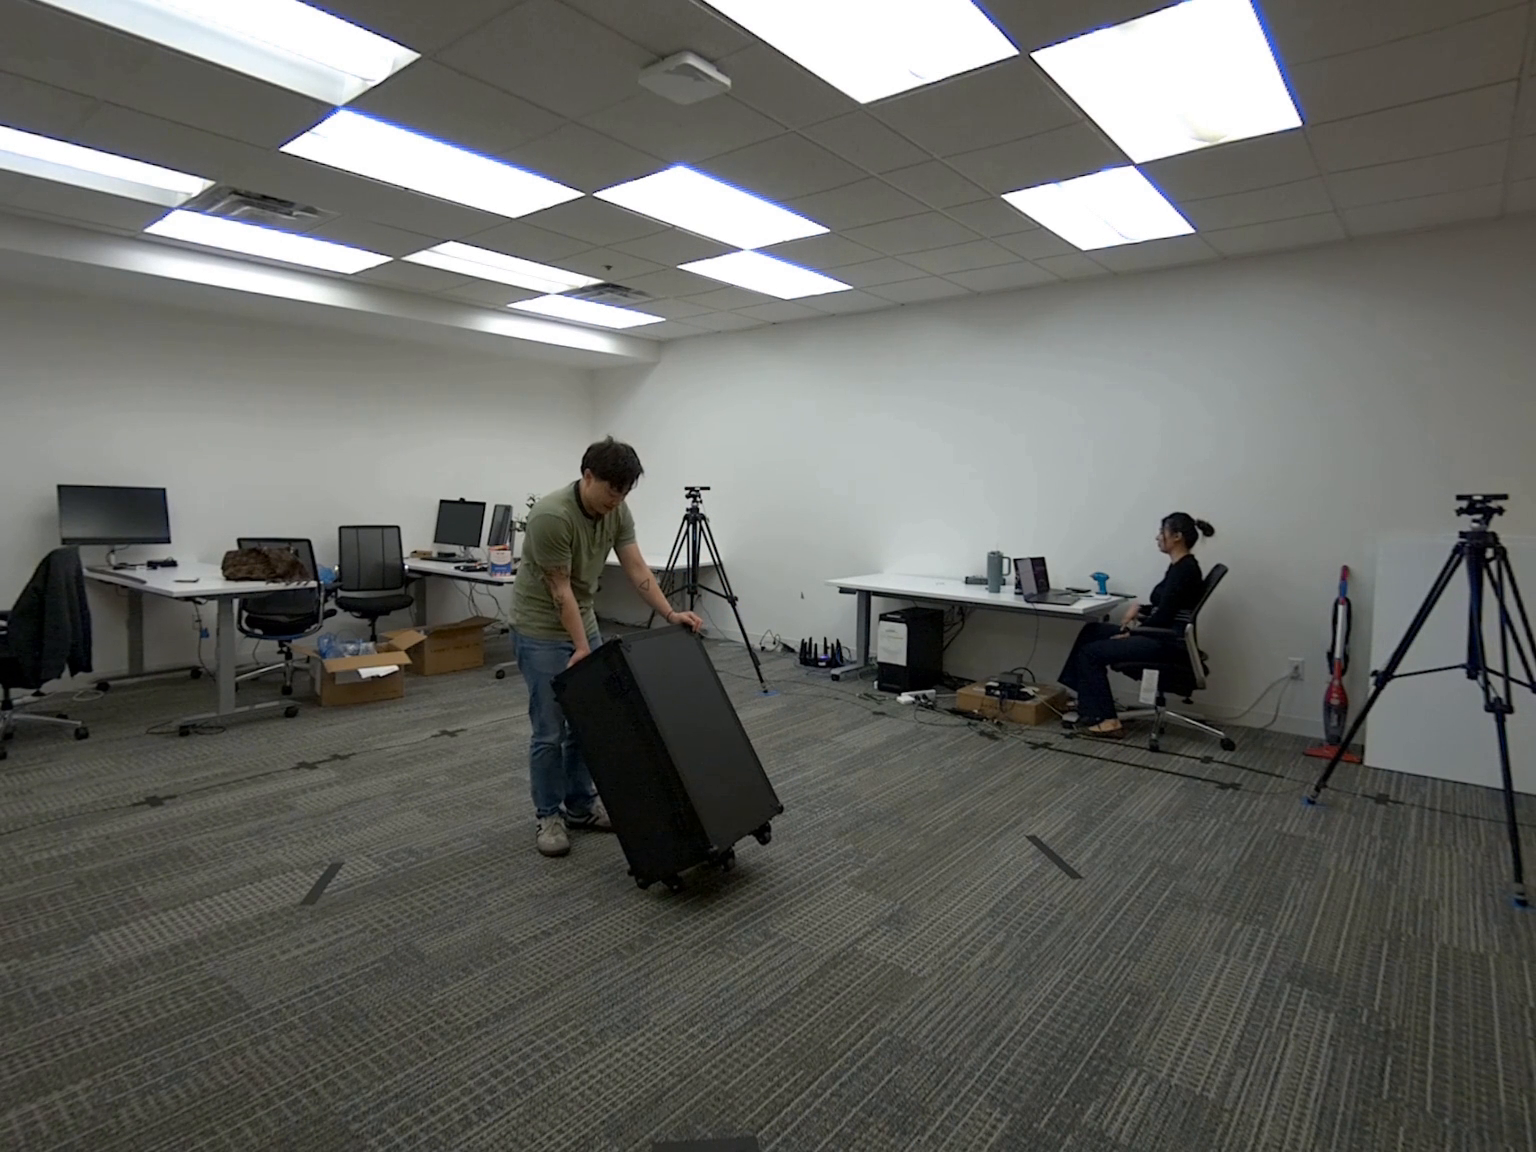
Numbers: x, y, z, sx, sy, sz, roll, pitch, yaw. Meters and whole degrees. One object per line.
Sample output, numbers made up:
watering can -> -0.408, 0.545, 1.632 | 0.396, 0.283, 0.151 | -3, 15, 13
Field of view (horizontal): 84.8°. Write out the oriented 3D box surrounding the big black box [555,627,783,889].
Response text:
big black box -> -0.368, 0.649, 3.067 | 0.399, 0.877, 0.508 | -35, -14, 27
